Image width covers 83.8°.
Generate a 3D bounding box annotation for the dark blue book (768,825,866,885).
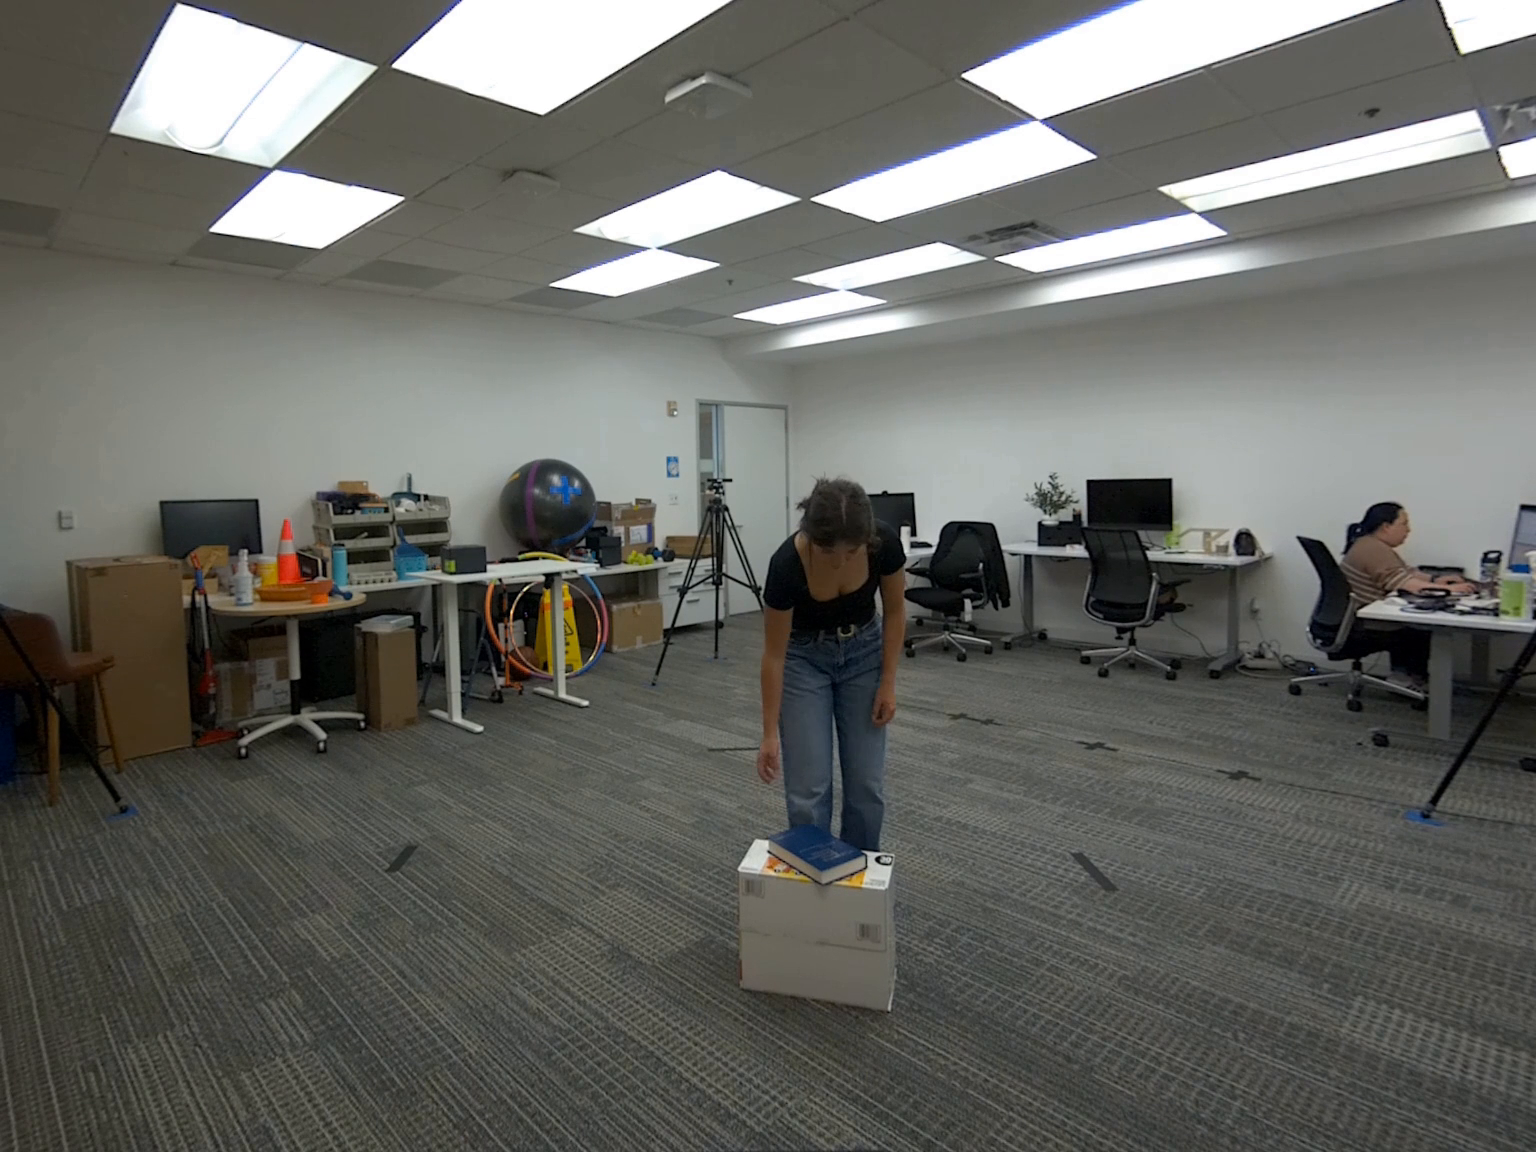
[{"bbox_3d":[0.133,0.771,2.368,0.159,0.045,0.253,-7,10,-34],"label":"dark blue book"}]
